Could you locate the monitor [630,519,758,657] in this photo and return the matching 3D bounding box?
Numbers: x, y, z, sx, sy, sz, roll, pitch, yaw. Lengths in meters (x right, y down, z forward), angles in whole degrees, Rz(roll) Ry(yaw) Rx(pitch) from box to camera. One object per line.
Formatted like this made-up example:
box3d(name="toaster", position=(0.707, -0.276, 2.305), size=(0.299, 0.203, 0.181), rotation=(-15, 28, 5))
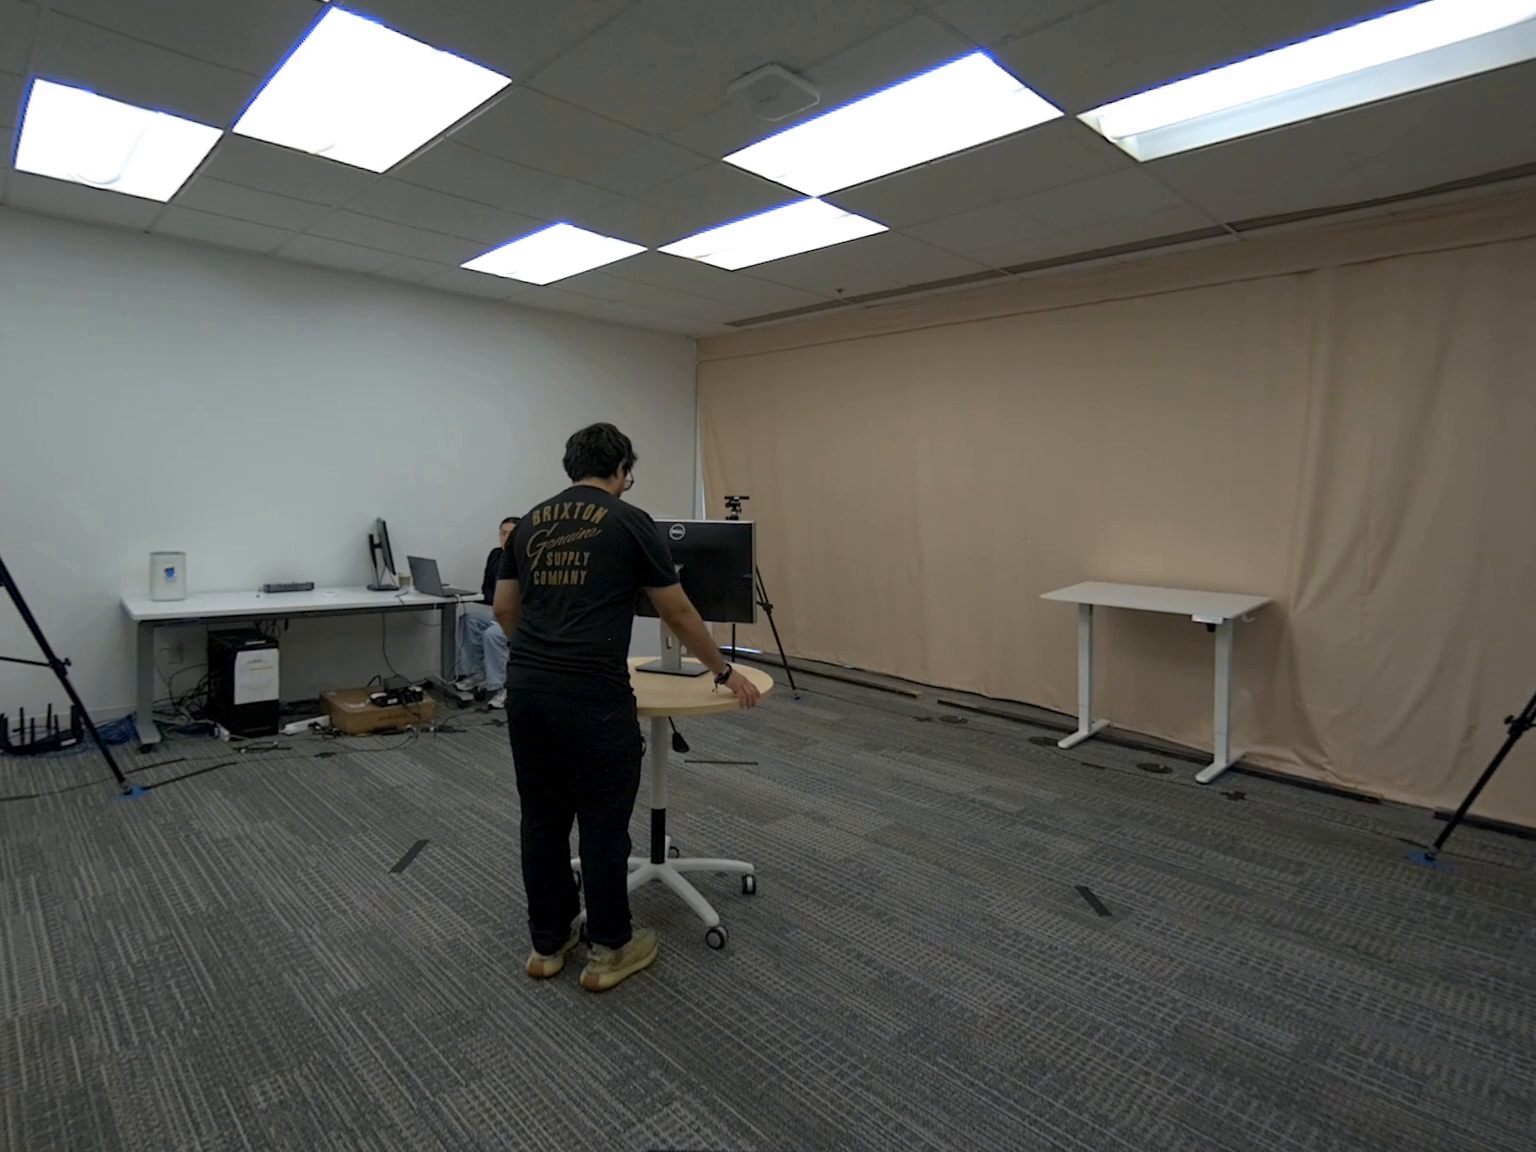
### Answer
box3d(name="monitor", position=(-0.335, 0.079, 2.968), size=(0.574, 0.551, 0.208), rotation=(3, 7, 21))
